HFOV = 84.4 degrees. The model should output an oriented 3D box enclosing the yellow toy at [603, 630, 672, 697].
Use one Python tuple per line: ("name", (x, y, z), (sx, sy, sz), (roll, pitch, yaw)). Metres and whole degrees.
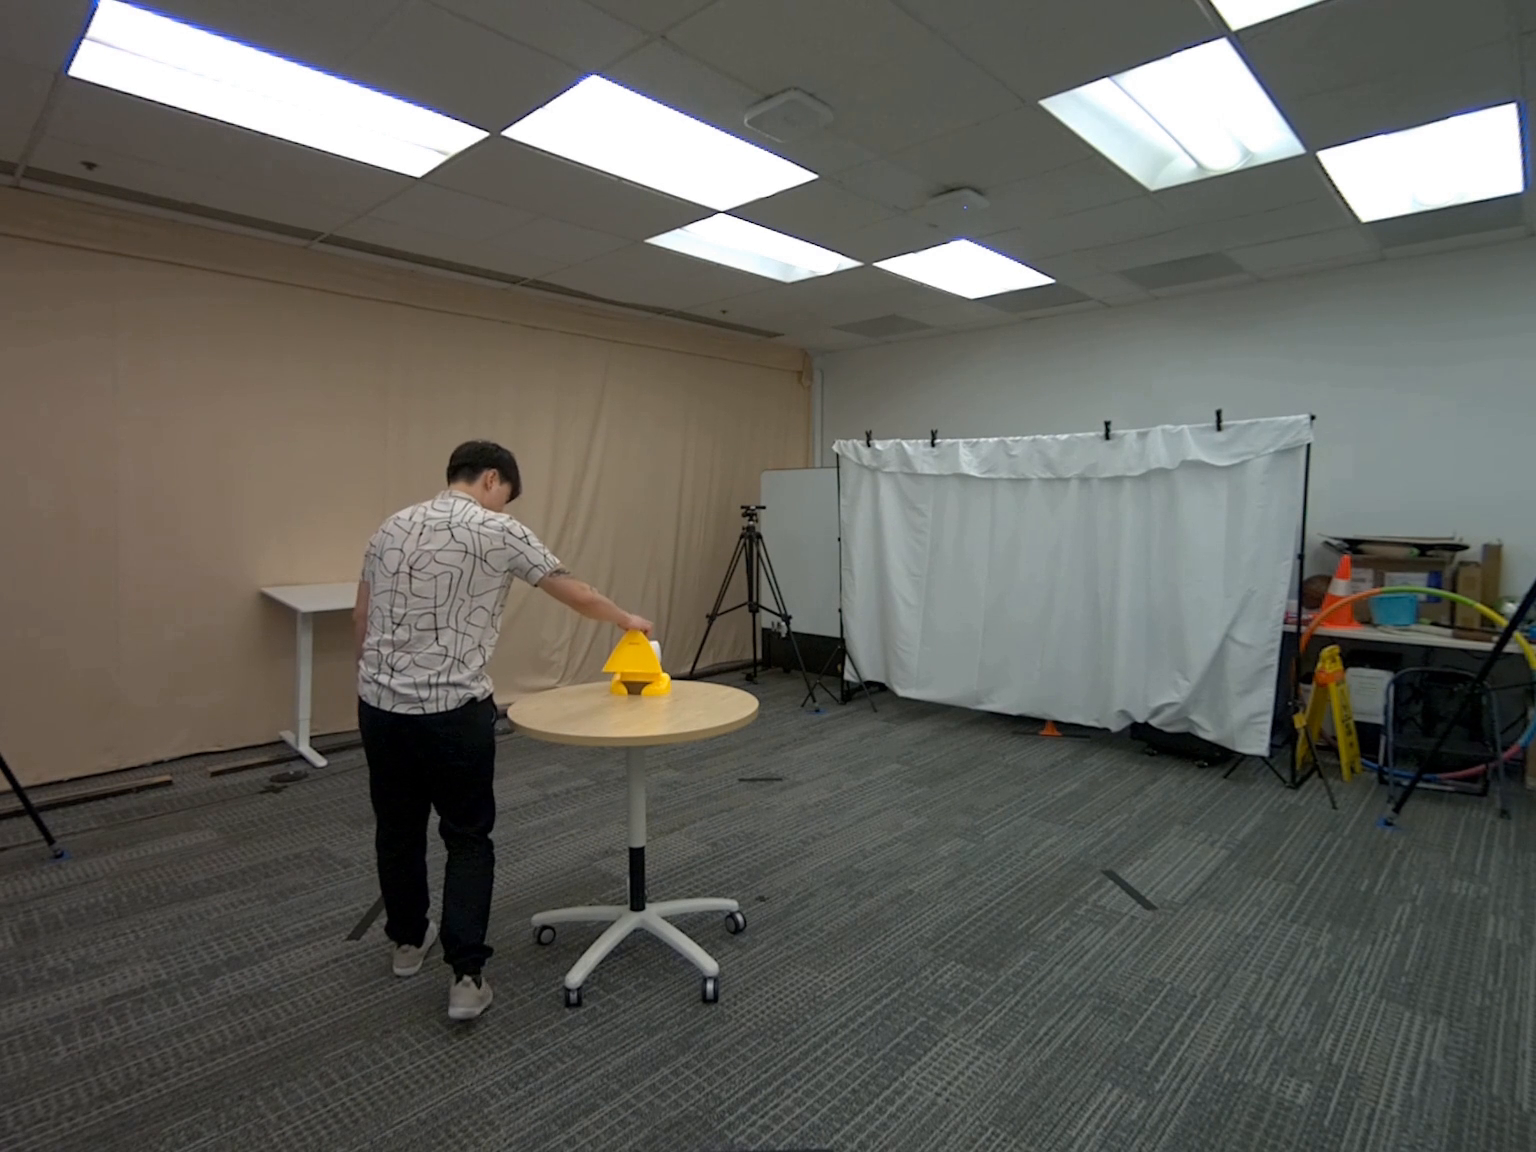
("yellow toy", (-0.424, 0.268, 2.787), (0.207, 0.230, 0.191), (0, 4, 10))
